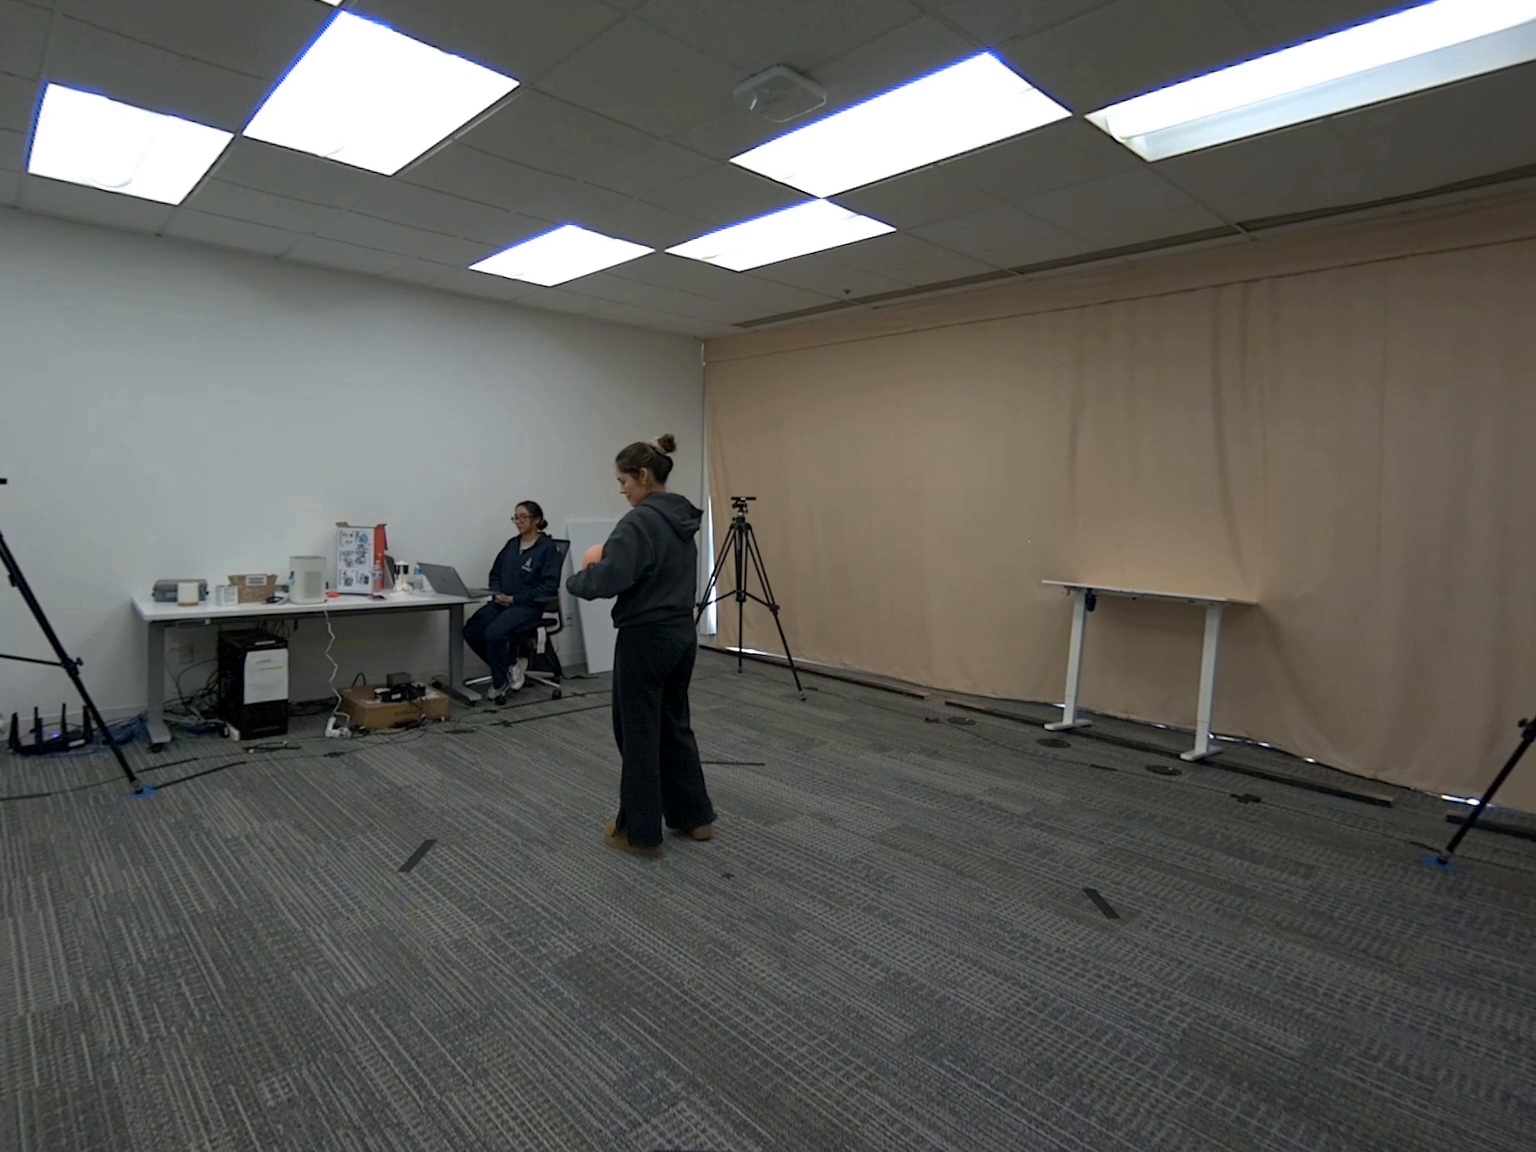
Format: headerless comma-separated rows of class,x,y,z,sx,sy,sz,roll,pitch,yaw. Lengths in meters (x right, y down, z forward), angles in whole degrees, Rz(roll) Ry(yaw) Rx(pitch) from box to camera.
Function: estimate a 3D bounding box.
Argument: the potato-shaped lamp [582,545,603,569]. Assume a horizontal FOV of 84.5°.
potato-shaped lamp,-0.624,-0.030,3.195,0.165,0.175,0.193,-5,-36,3
